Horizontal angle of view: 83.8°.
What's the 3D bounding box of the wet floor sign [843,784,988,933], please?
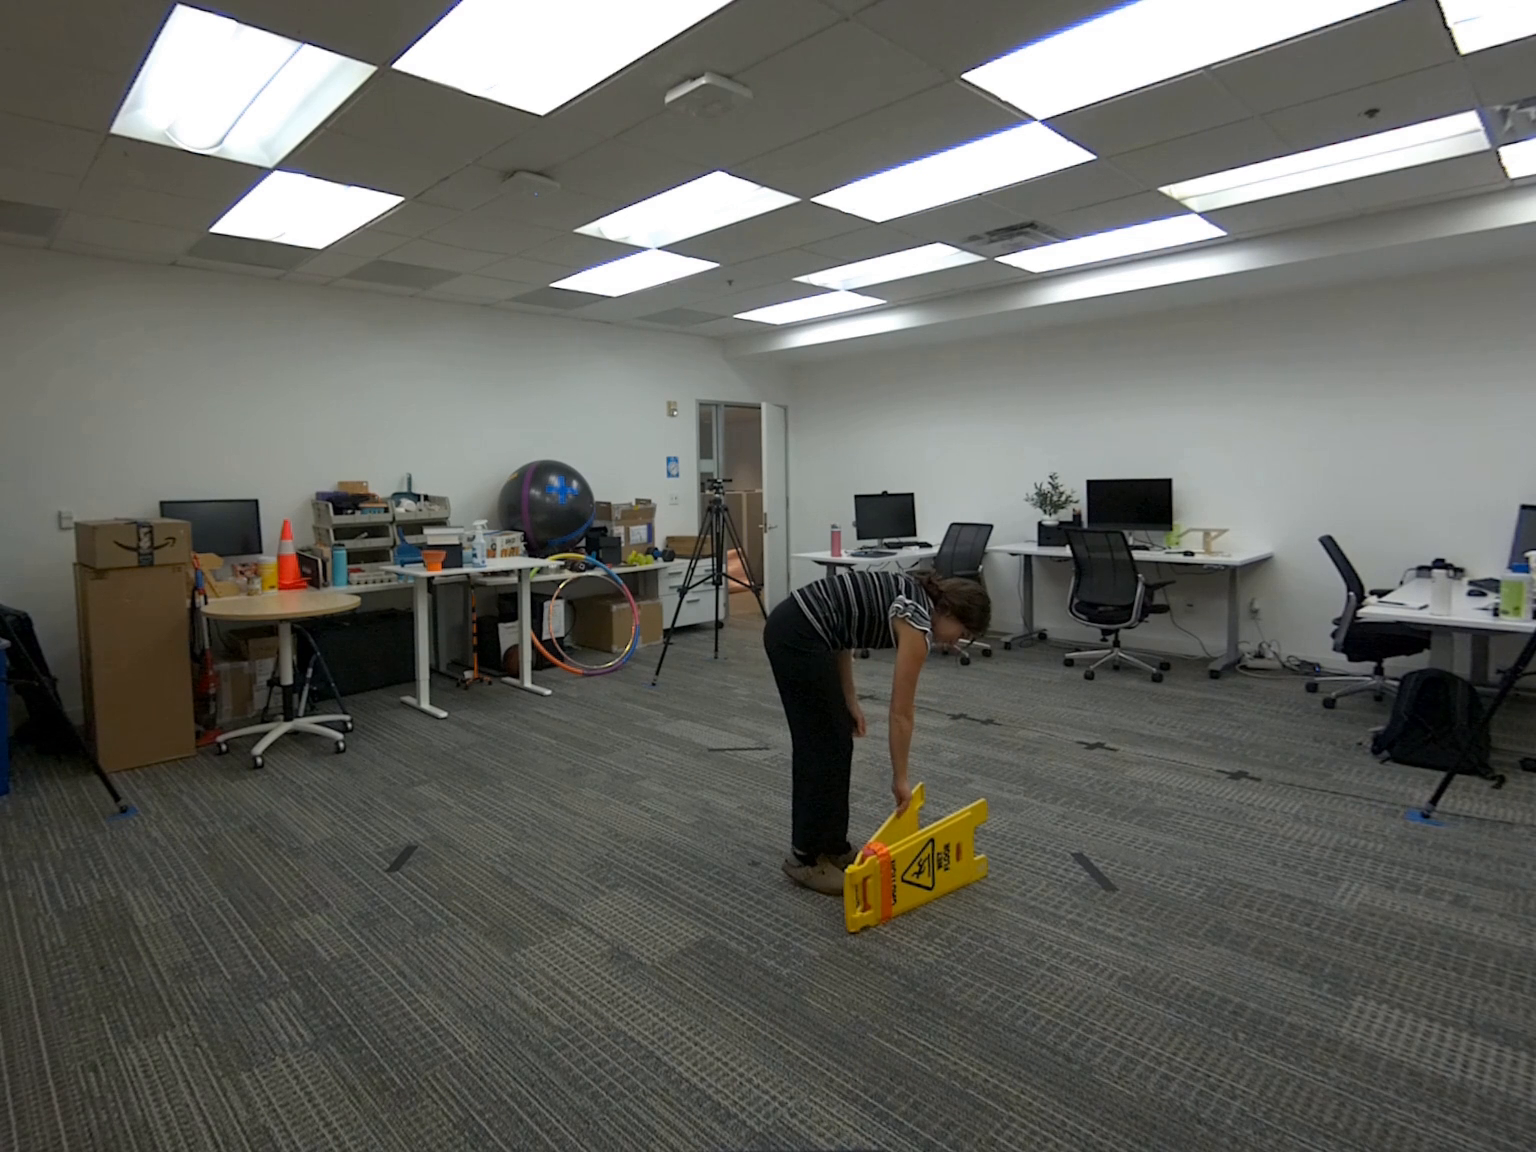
[{"bbox_3d":[0.460,0.944,2.821,0.299,0.280,0.631,4,11,41],"label":"wet floor sign"}]
